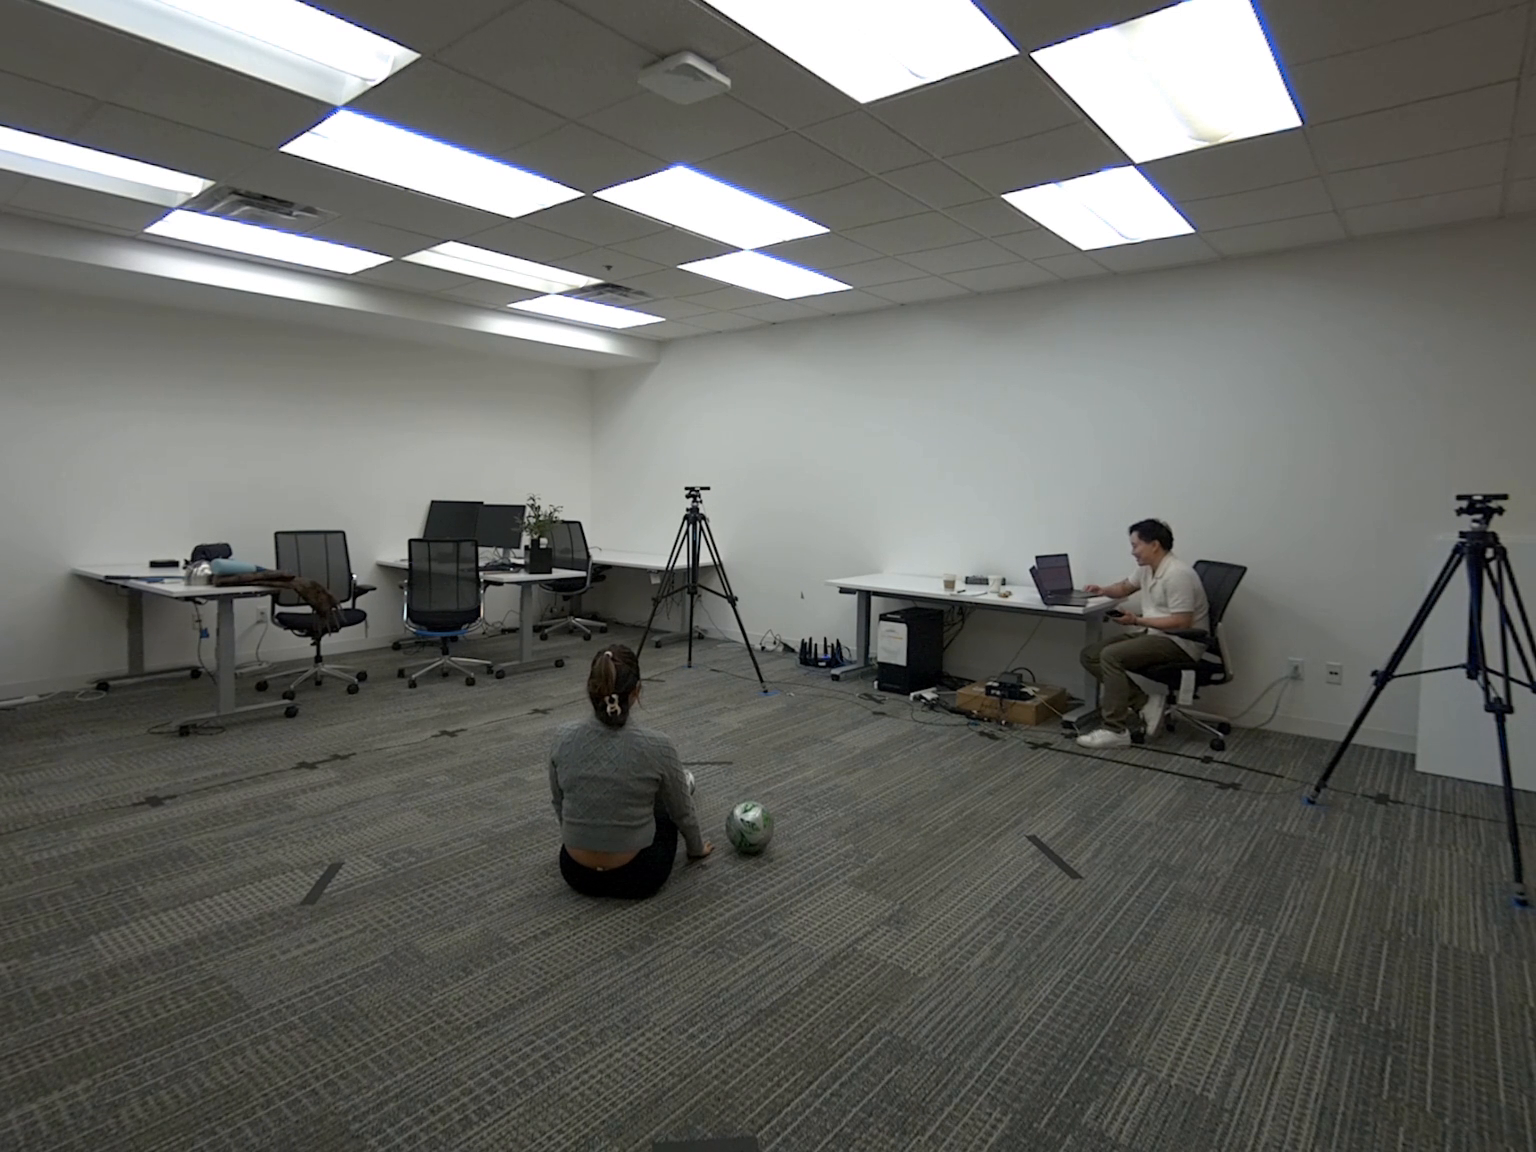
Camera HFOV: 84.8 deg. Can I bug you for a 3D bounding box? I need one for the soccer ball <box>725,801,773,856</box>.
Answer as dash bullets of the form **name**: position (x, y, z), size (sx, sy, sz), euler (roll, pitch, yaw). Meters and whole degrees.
- **soccer ball**: position (-0.078, 0.960, 3.258), size (0.187, 0.187, 0.188), euler (0, 4, -2)
